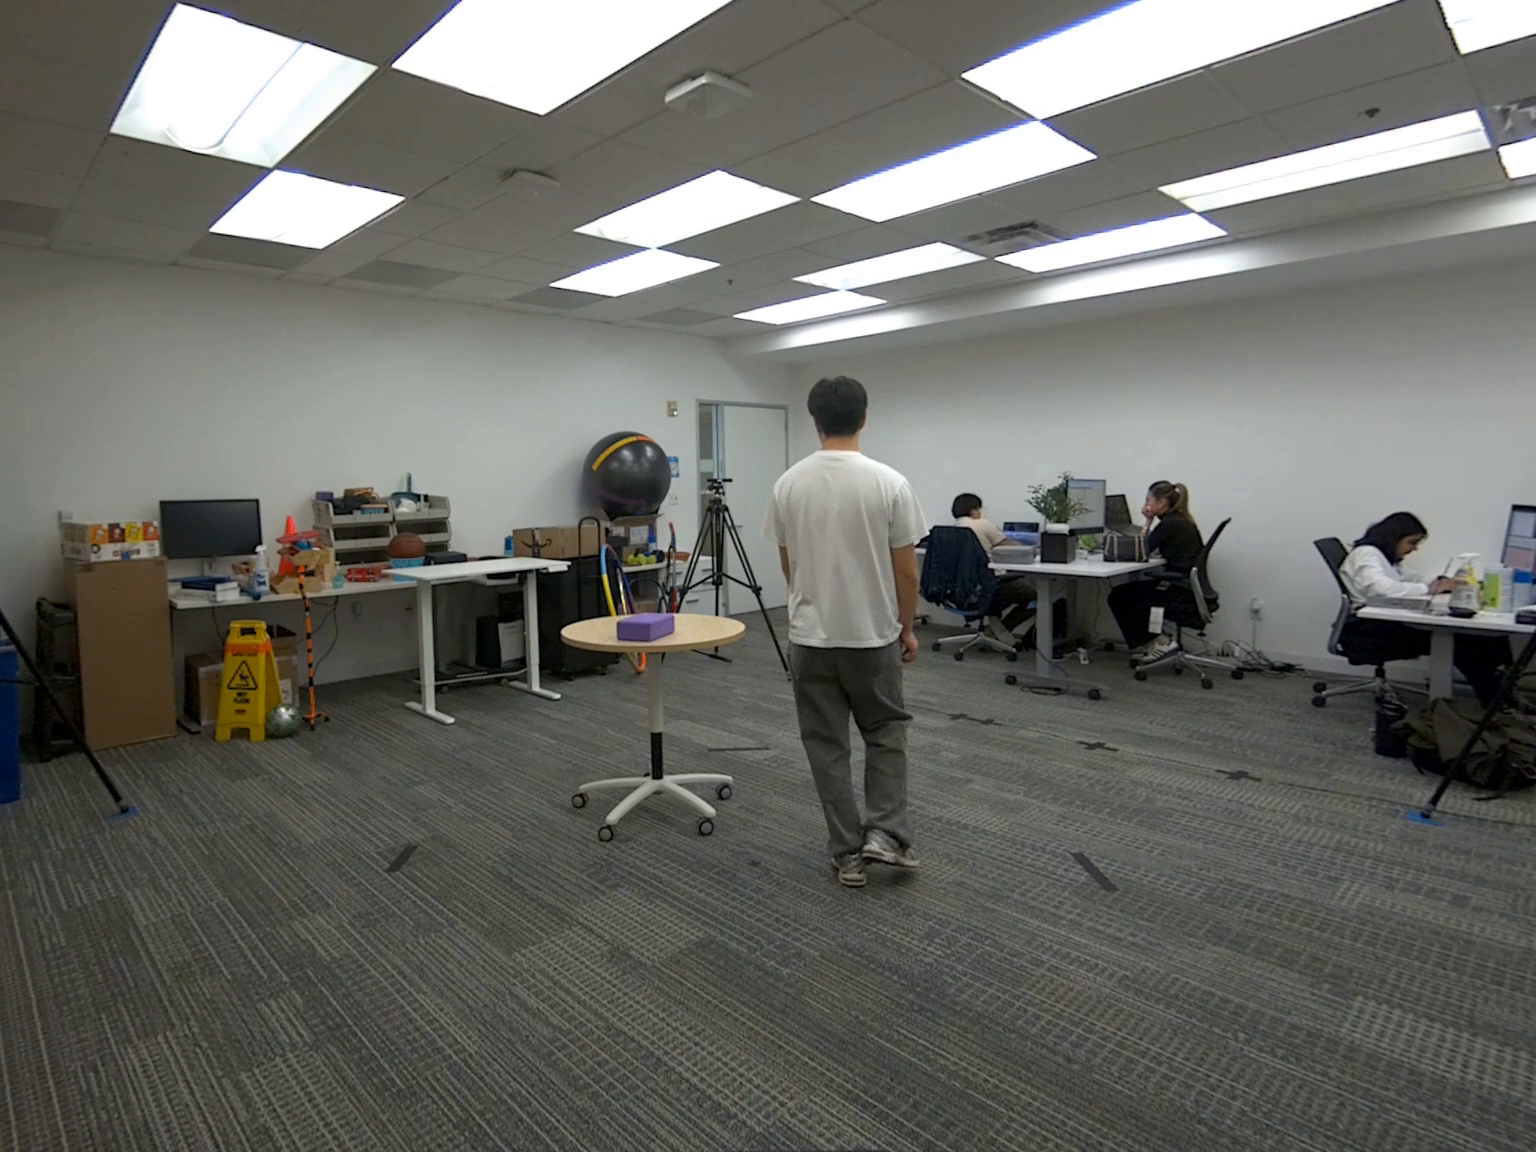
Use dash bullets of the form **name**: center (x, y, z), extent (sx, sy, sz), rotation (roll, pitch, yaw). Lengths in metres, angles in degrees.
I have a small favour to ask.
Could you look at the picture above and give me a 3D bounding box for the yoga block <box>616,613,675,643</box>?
- **yoga block**: center (-0.486, 0.201, 3.395), extent (0.152, 0.076, 0.226), rotation (1, 6, 19)
